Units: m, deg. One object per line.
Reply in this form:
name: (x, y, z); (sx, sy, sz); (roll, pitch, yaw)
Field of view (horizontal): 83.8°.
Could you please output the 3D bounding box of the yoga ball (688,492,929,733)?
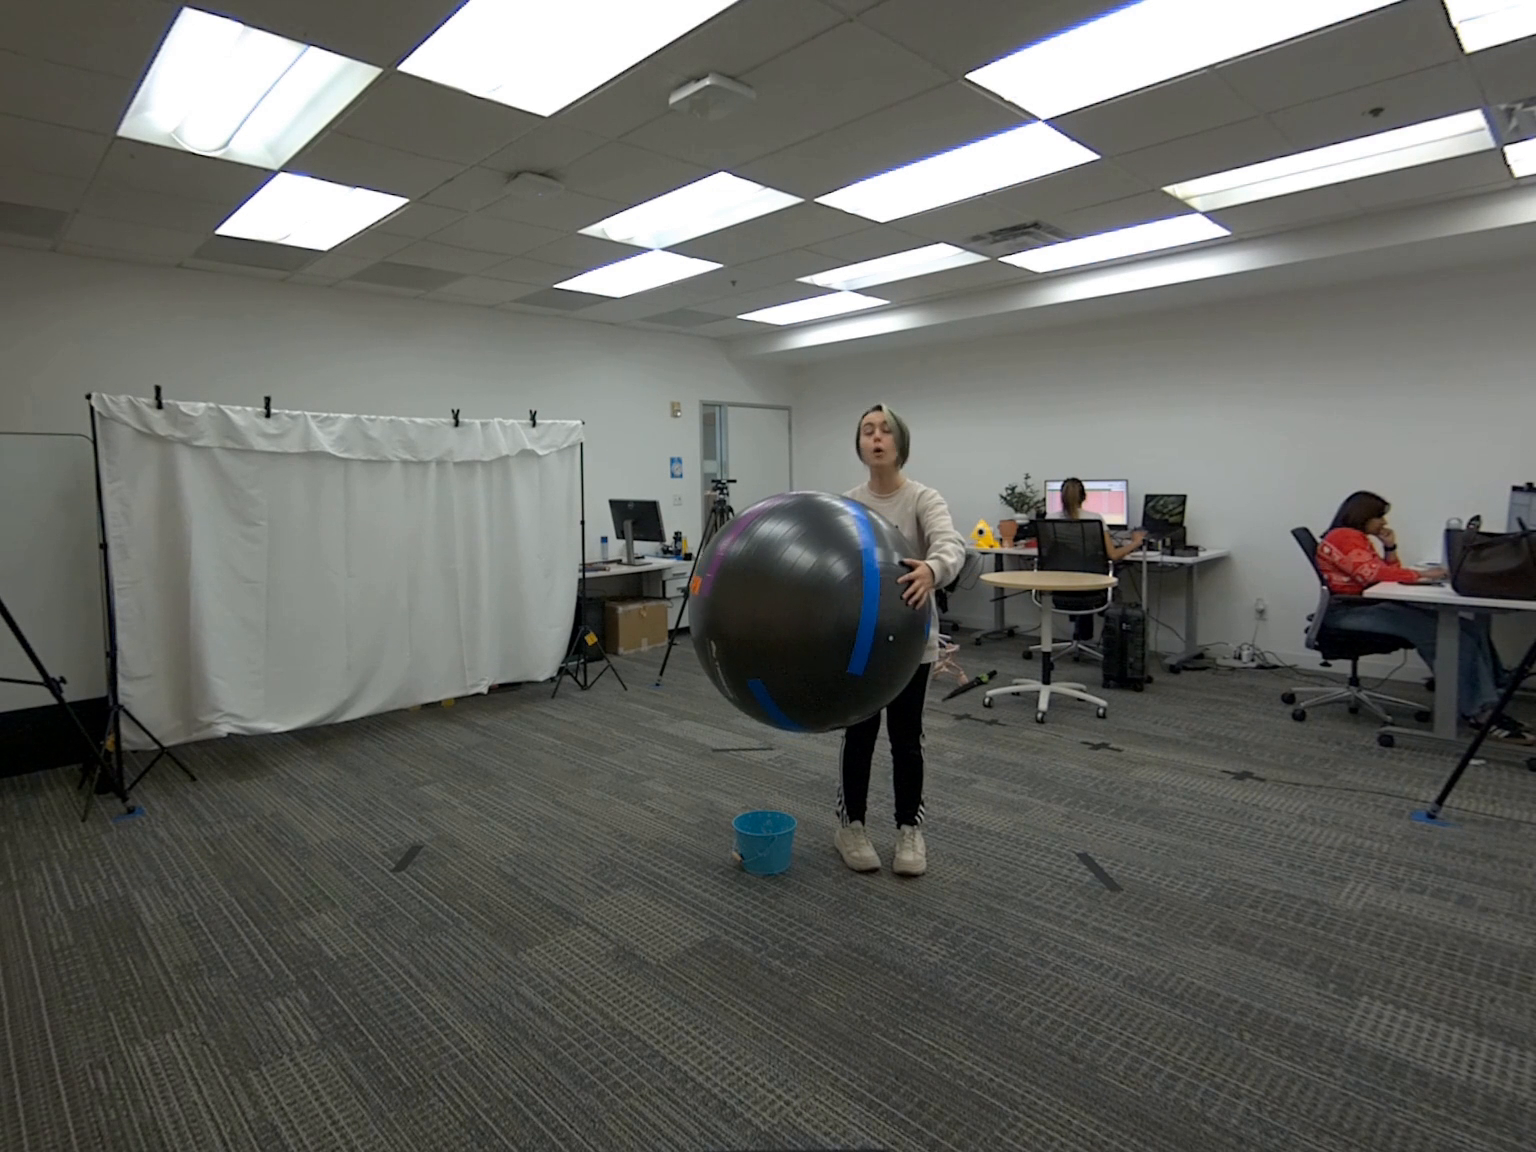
yoga ball: (0.129, 0.115, 2.699); (0.757, 0.755, 0.762); (-1, 5, -2)
